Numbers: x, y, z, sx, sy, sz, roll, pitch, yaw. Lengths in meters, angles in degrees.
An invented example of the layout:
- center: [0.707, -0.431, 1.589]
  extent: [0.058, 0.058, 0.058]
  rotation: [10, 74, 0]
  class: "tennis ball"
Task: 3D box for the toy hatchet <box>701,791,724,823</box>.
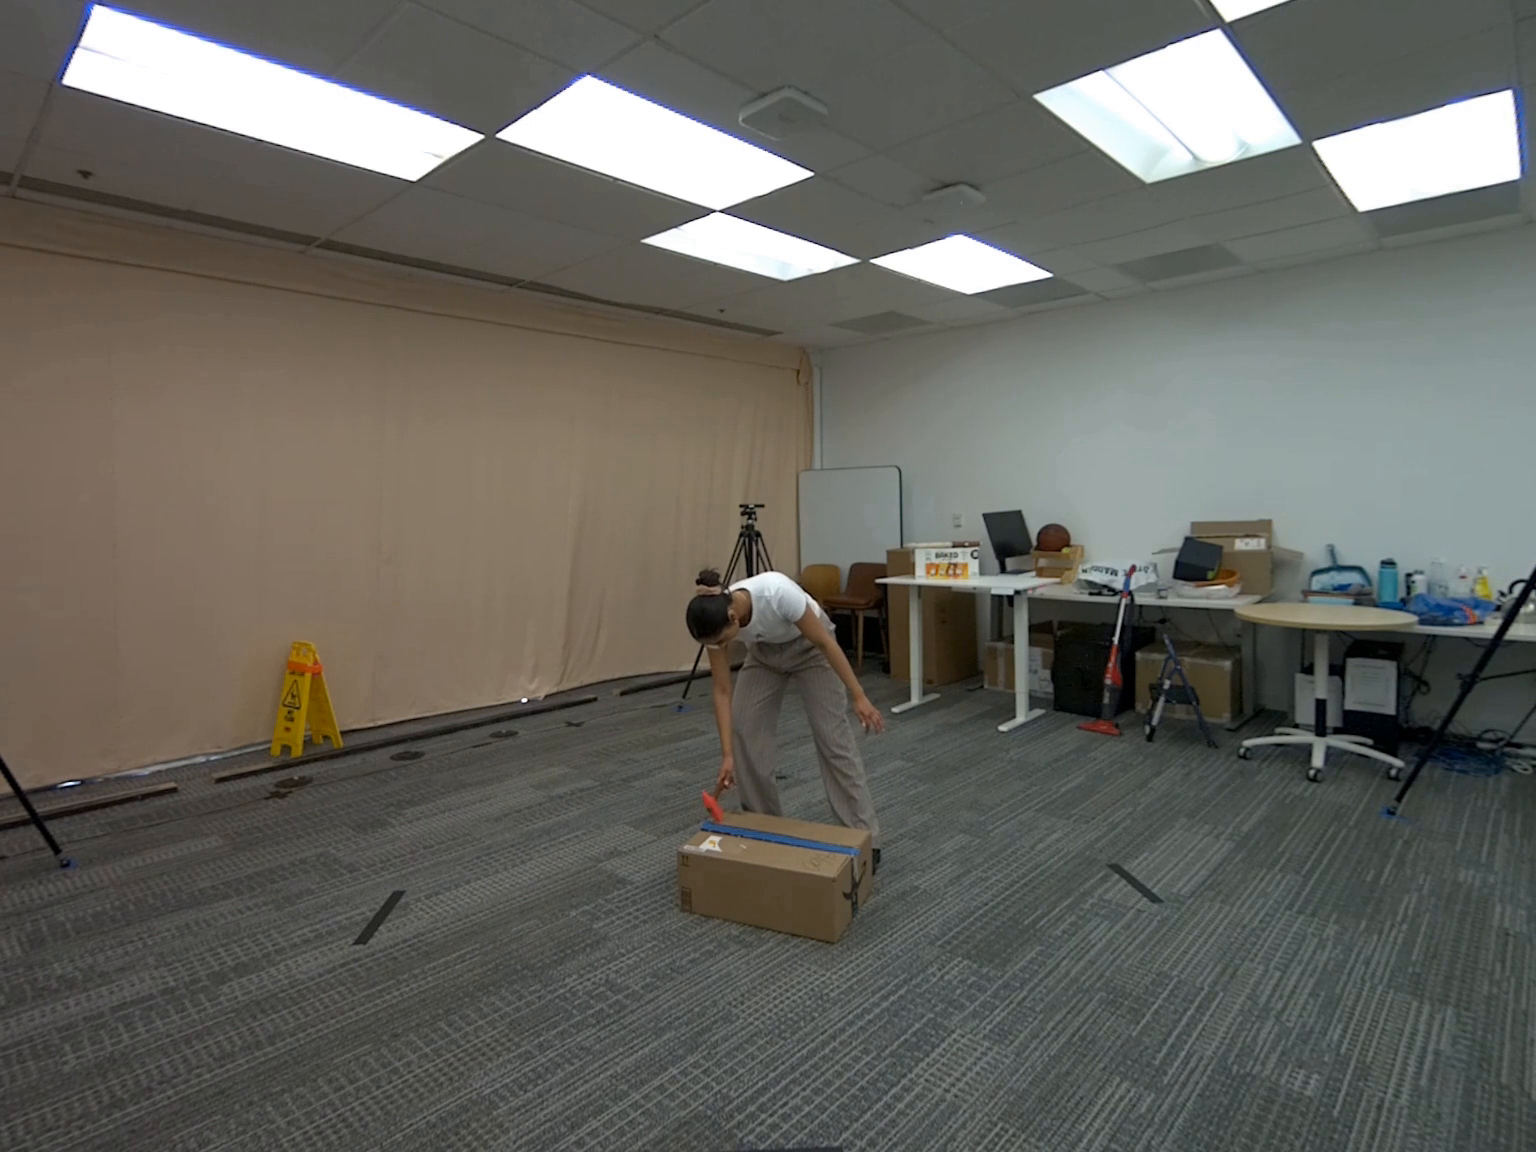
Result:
- center: [-0.164, 0.854, 3.196]
  extent: [0.030, 0.133, 0.264]
  rotation: [-30, -13, 12]
  class: "toy hatchet"
